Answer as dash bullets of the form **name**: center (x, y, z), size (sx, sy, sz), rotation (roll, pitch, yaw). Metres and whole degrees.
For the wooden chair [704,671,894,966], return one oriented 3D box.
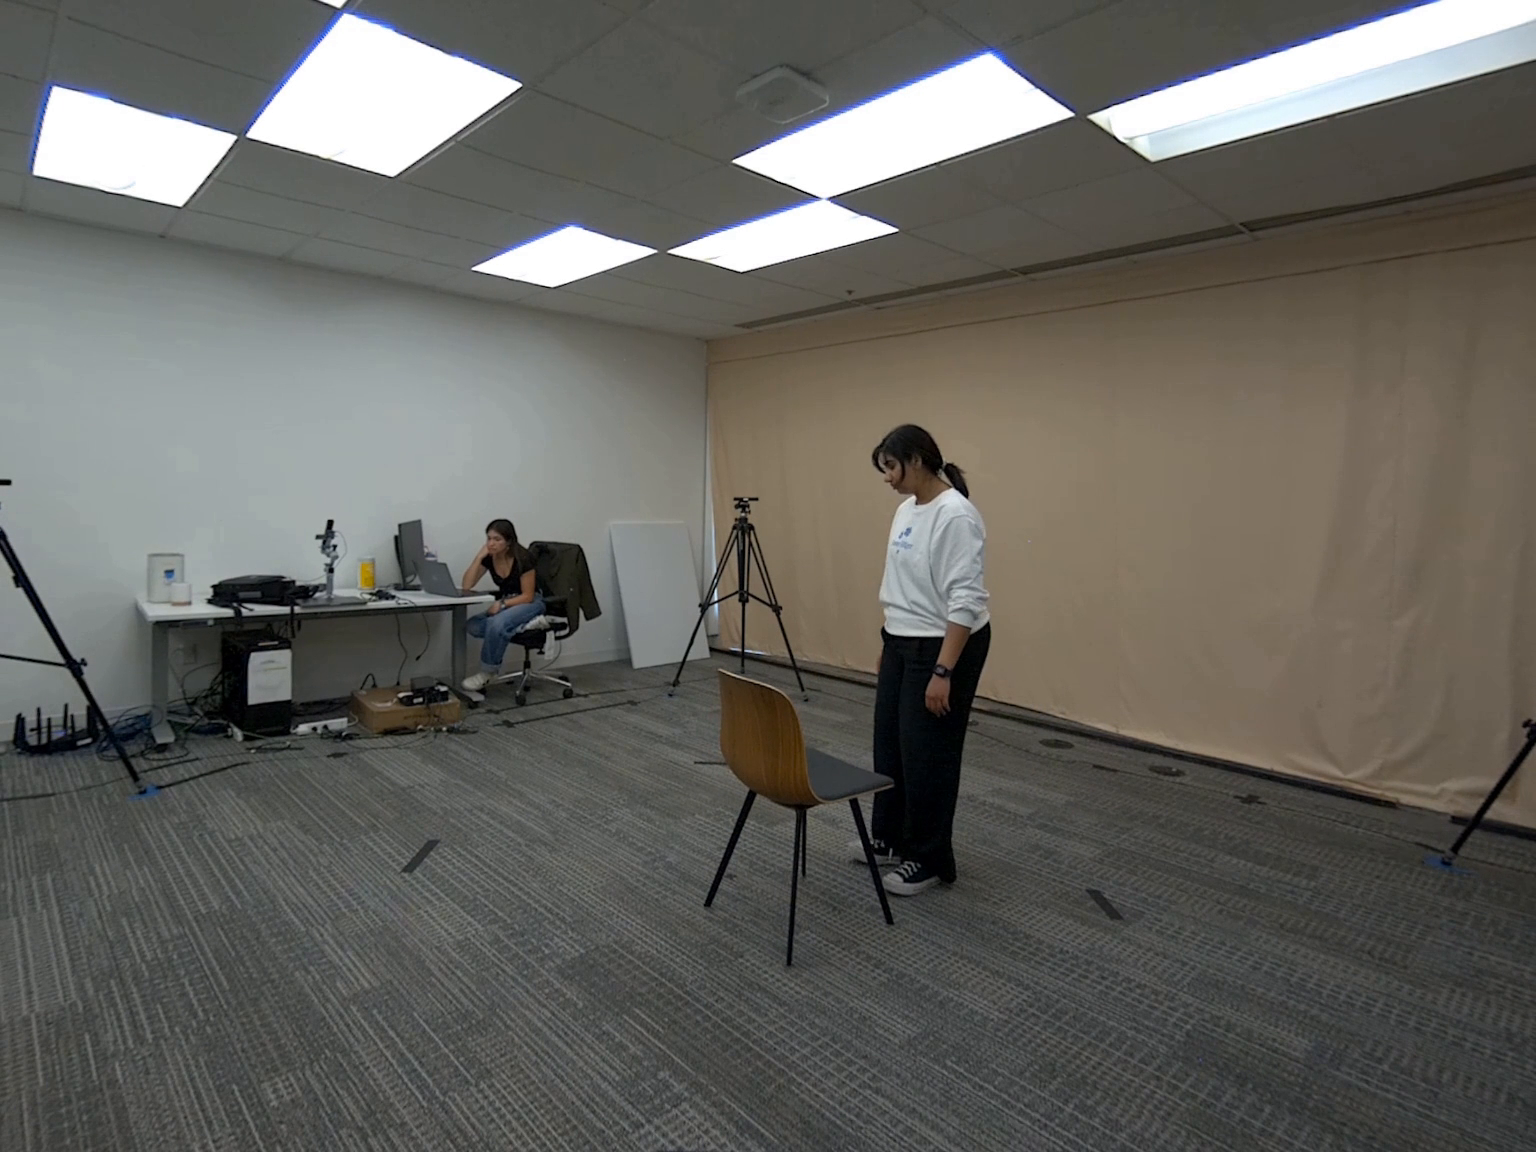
- **wooden chair**: center (0.107, 0.714, 2.794), size (0.512, 0.873, 0.490), rotation (-6, 7, -37)
